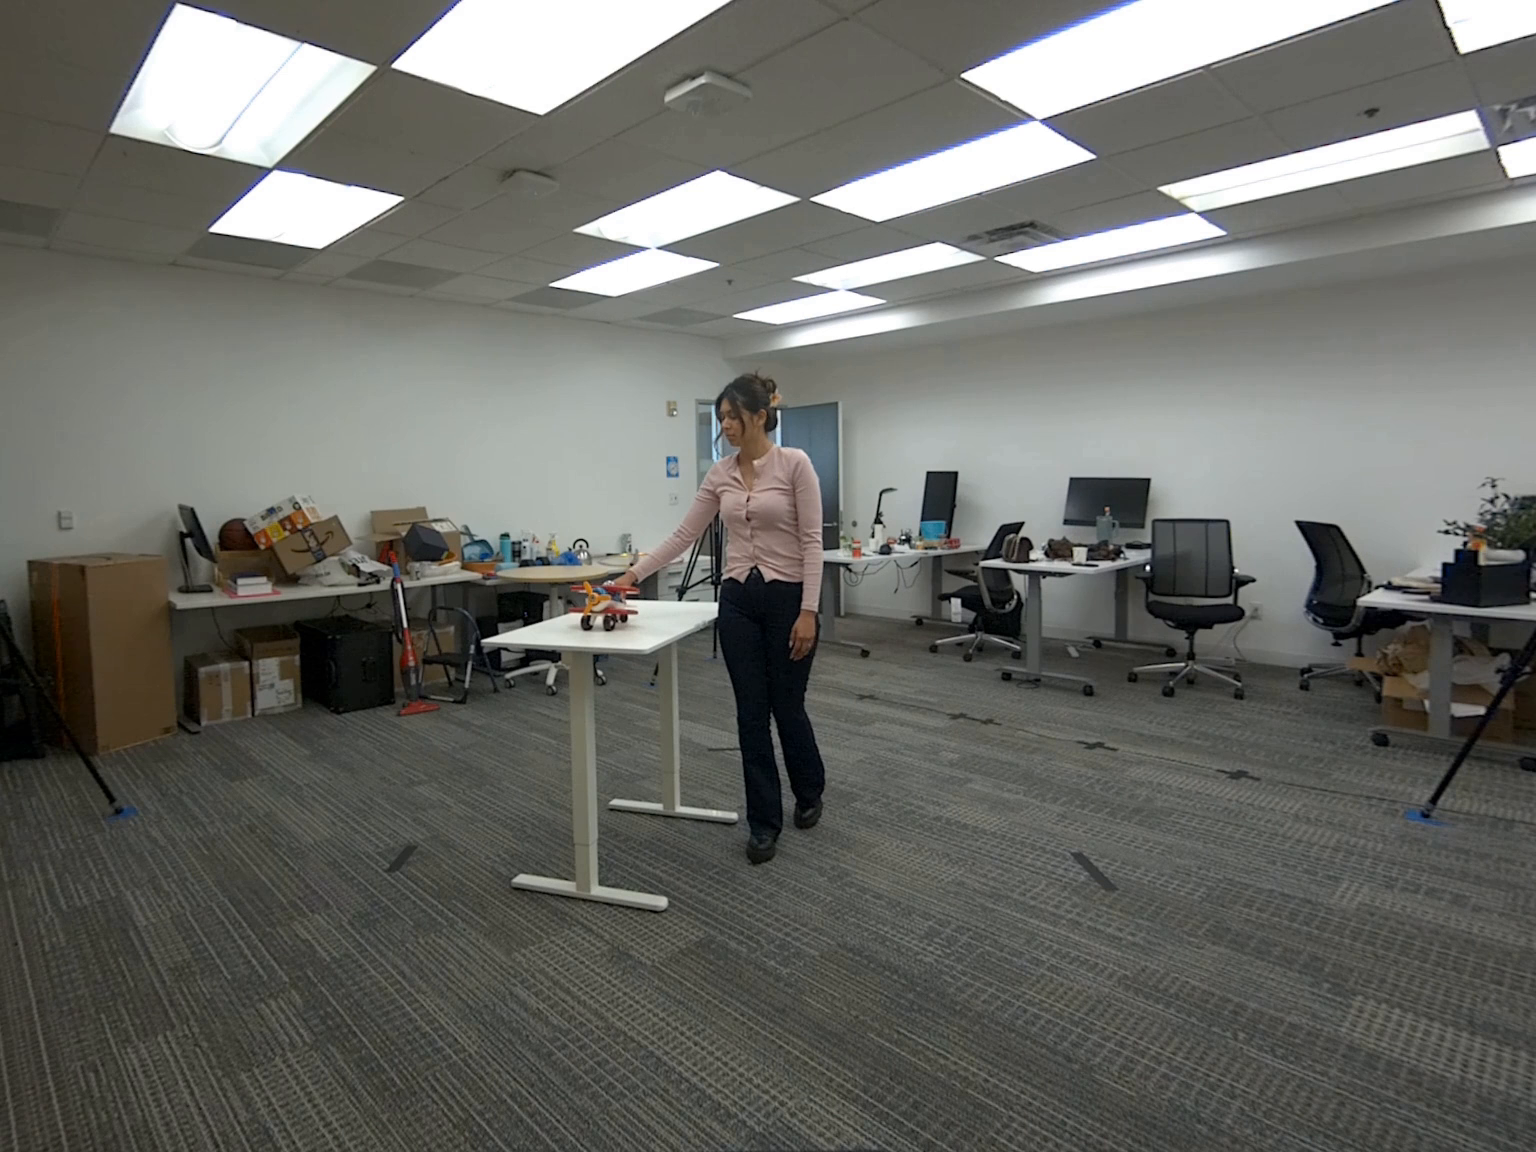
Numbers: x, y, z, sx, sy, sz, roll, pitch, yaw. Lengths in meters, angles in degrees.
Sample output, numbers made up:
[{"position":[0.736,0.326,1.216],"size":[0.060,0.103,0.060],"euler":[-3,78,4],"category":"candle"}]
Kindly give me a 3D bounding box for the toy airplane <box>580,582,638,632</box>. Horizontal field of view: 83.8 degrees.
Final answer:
[{"position":[-0.584,0.104,3.041],"size":[0.248,0.156,0.264],"euler":[-2,6,-15],"category":"toy airplane"}]
